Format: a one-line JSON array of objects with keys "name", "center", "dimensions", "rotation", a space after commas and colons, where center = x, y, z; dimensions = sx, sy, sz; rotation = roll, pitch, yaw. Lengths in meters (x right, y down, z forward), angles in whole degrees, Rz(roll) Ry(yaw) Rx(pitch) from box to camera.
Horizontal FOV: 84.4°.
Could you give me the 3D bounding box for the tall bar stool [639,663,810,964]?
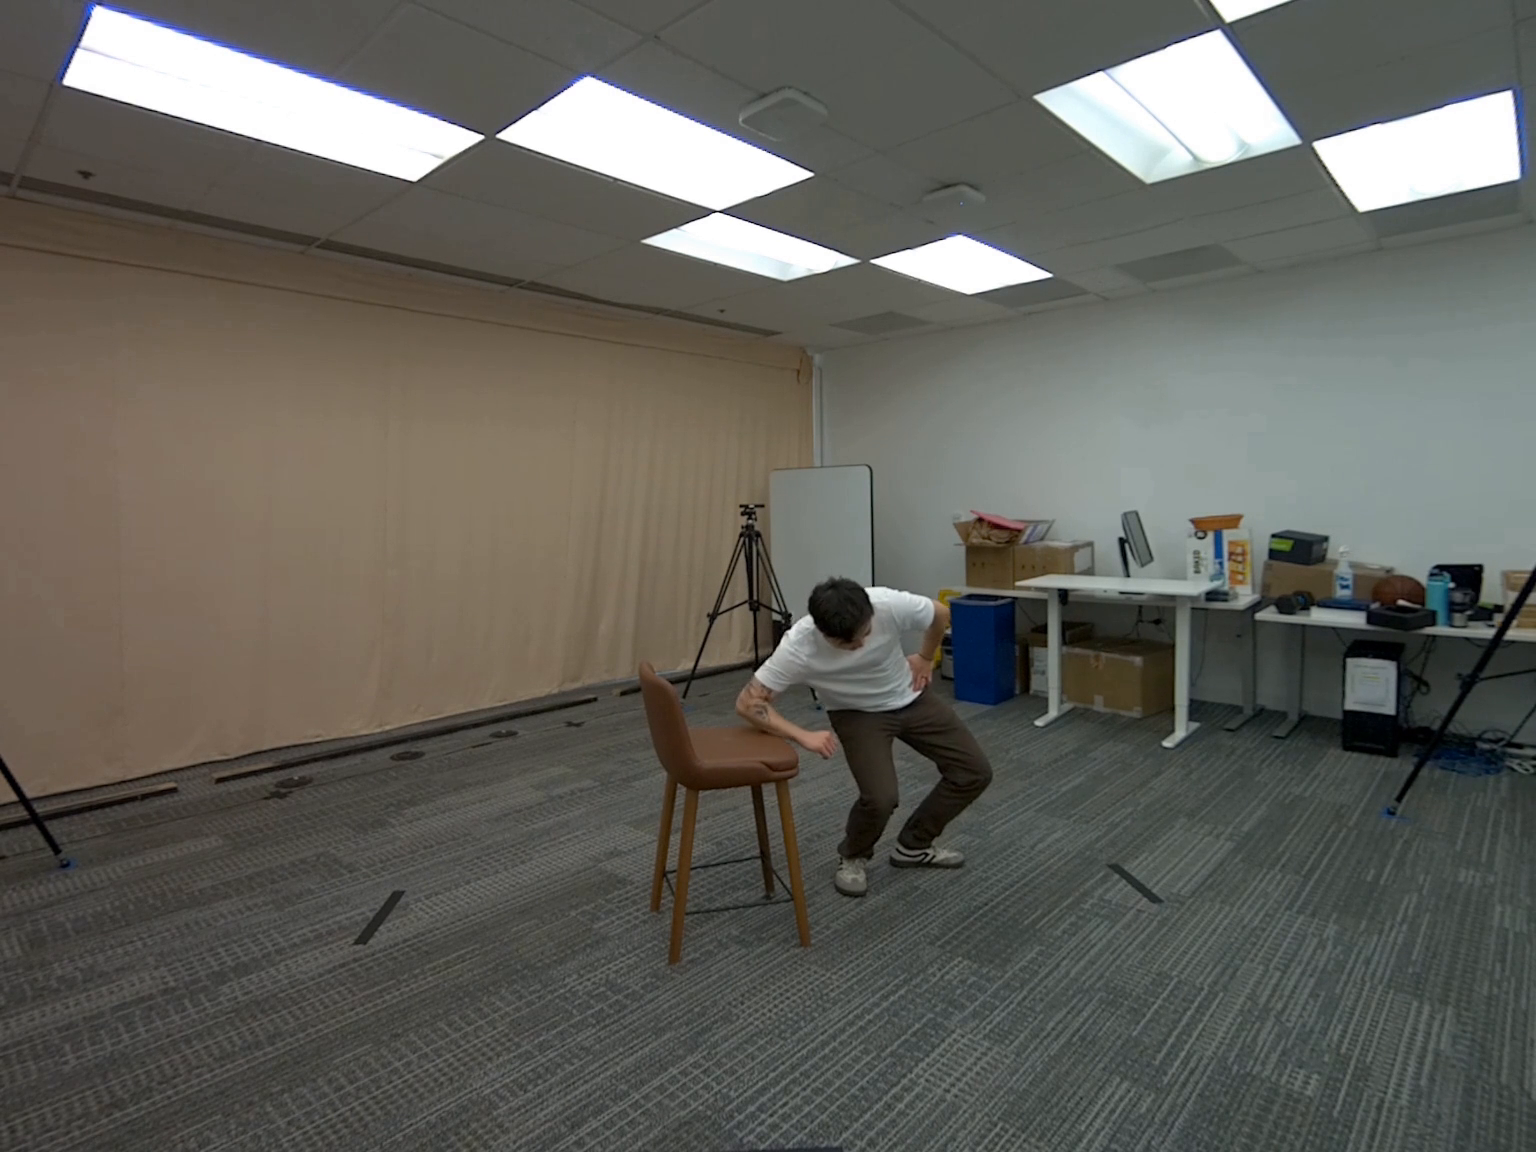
[{"name": "tall bar stool", "center": [-0.148, 0.723, 2.763], "dimensions": [0.460, 0.887, 0.465], "rotation": [-3, 4, -16]}]
